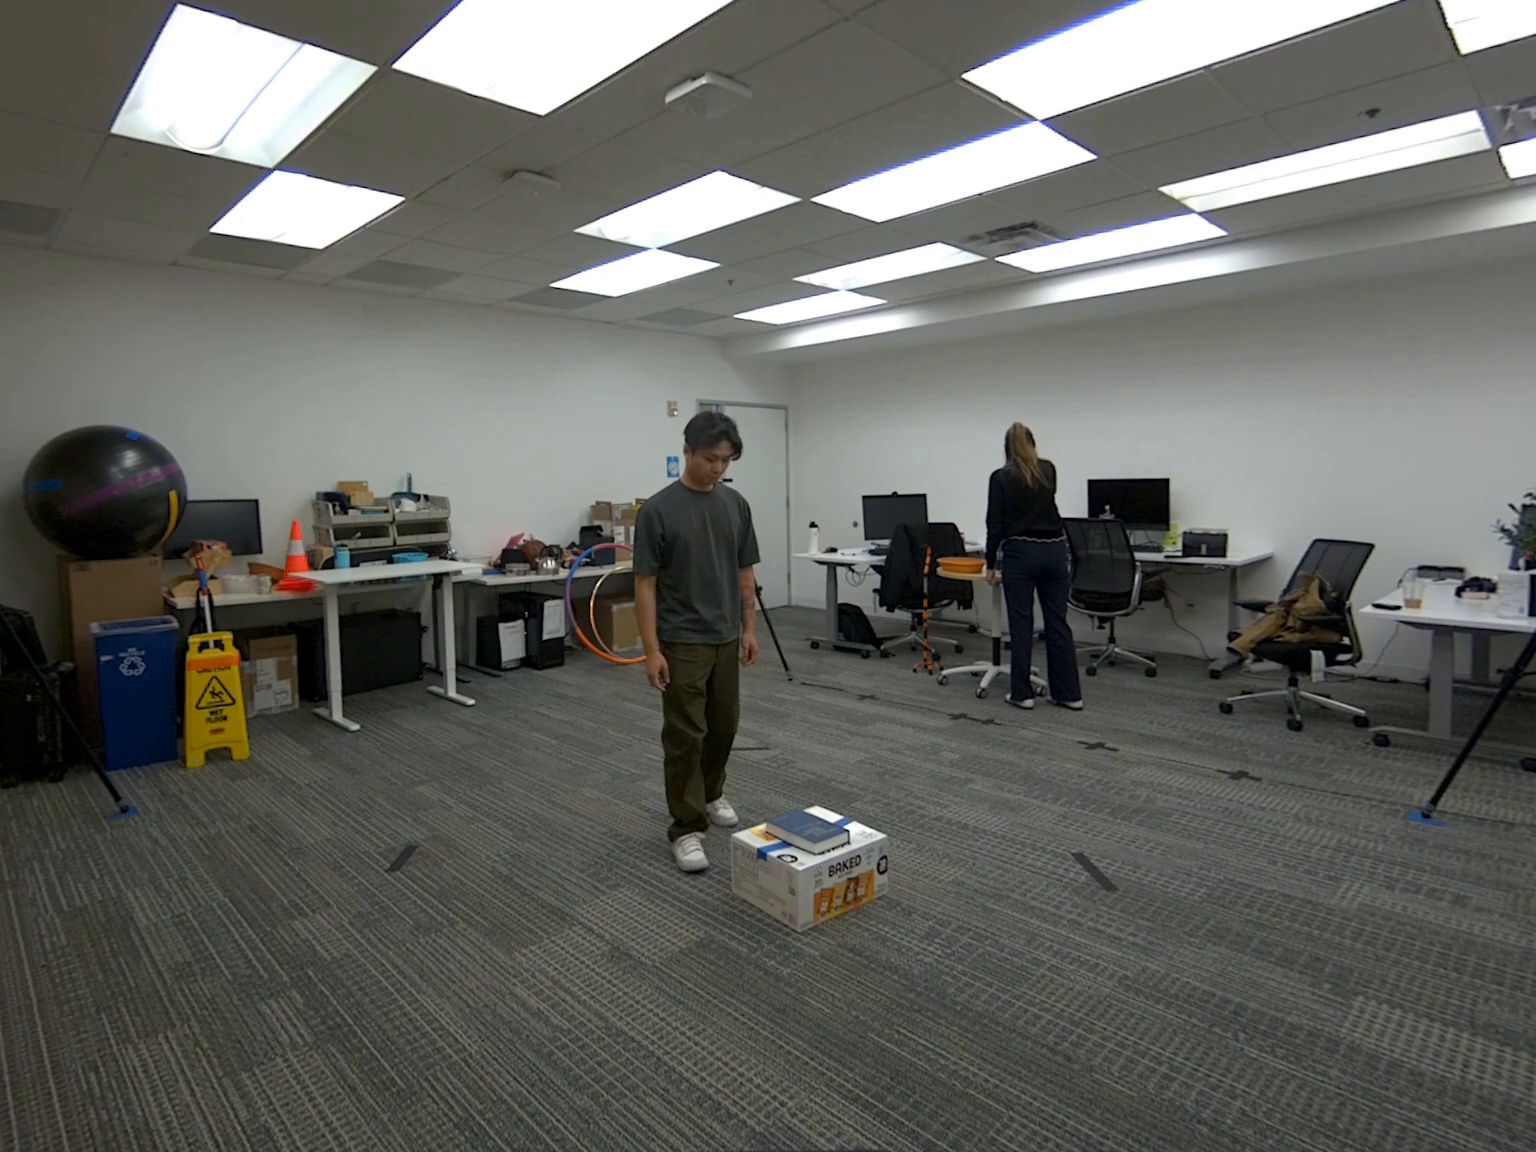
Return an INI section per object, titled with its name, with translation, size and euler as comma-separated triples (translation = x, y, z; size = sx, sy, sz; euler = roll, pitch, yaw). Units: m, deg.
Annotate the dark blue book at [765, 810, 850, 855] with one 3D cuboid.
[dark blue book]
translation = 0.140, 0.860, 2.847
size = 0.159, 0.045, 0.253
euler = -6, 8, -40
